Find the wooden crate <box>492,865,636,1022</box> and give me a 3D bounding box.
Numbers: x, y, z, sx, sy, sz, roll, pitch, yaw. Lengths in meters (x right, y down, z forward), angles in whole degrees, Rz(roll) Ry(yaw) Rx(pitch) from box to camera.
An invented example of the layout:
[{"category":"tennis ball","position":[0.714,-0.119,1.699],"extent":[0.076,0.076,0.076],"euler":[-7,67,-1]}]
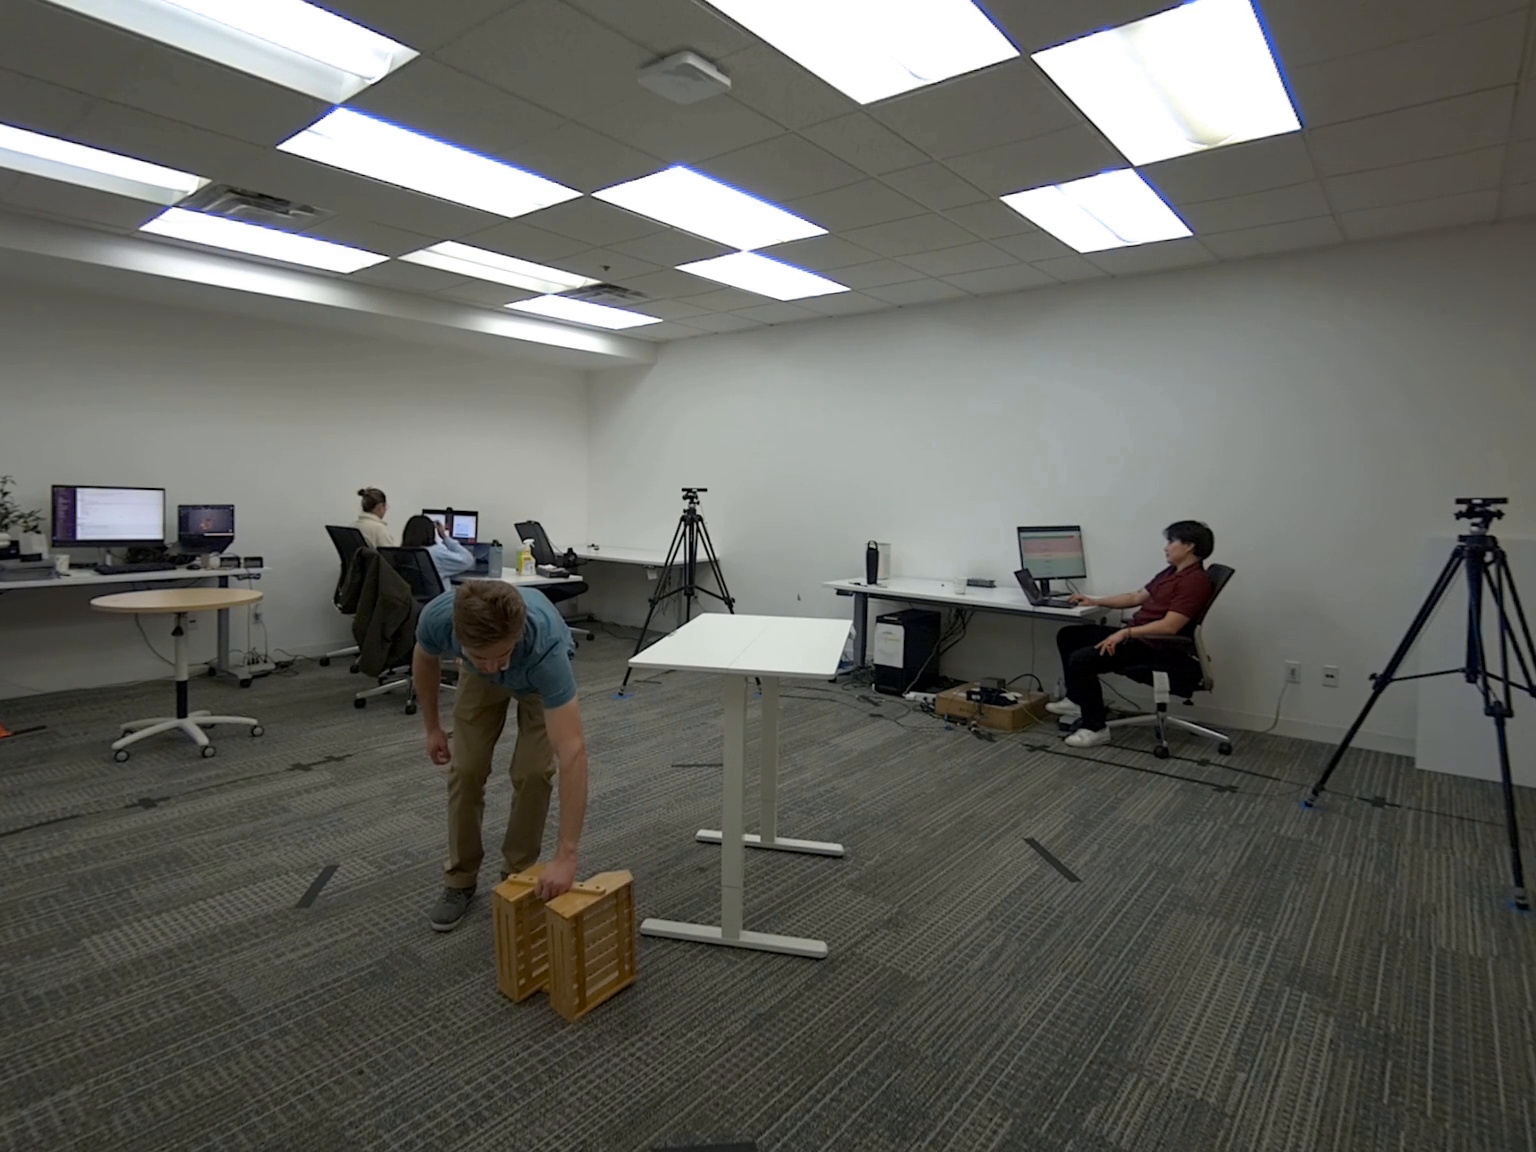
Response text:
[{"category":"wooden crate","position":[-0.561,0.975,2.333],"extent":[0.283,0.321,0.294],"euler":[8,12,37]}]
